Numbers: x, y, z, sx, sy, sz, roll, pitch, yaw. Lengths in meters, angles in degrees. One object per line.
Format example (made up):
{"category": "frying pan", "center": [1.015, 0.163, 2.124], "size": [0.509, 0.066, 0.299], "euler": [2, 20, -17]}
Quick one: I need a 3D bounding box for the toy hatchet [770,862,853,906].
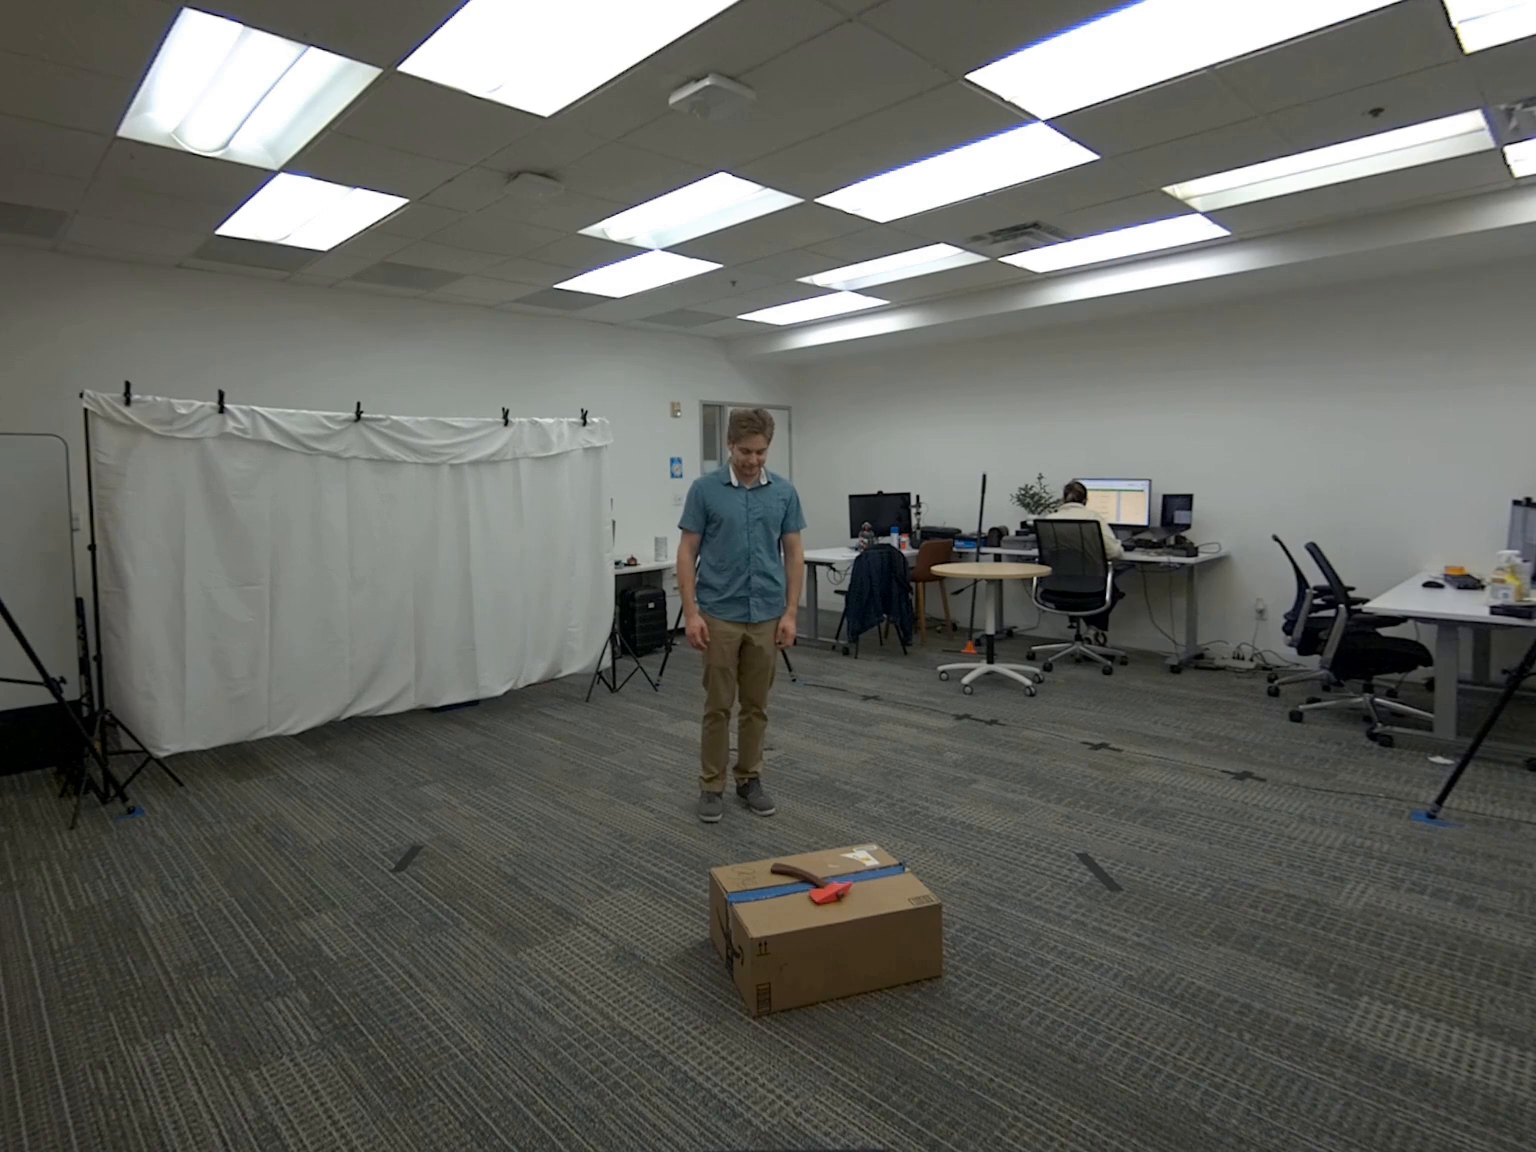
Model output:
{"category": "toy hatchet", "center": [0.102, 0.888, 2.470], "size": [0.277, 0.029, 0.129], "euler": [-1, 13, 37]}
